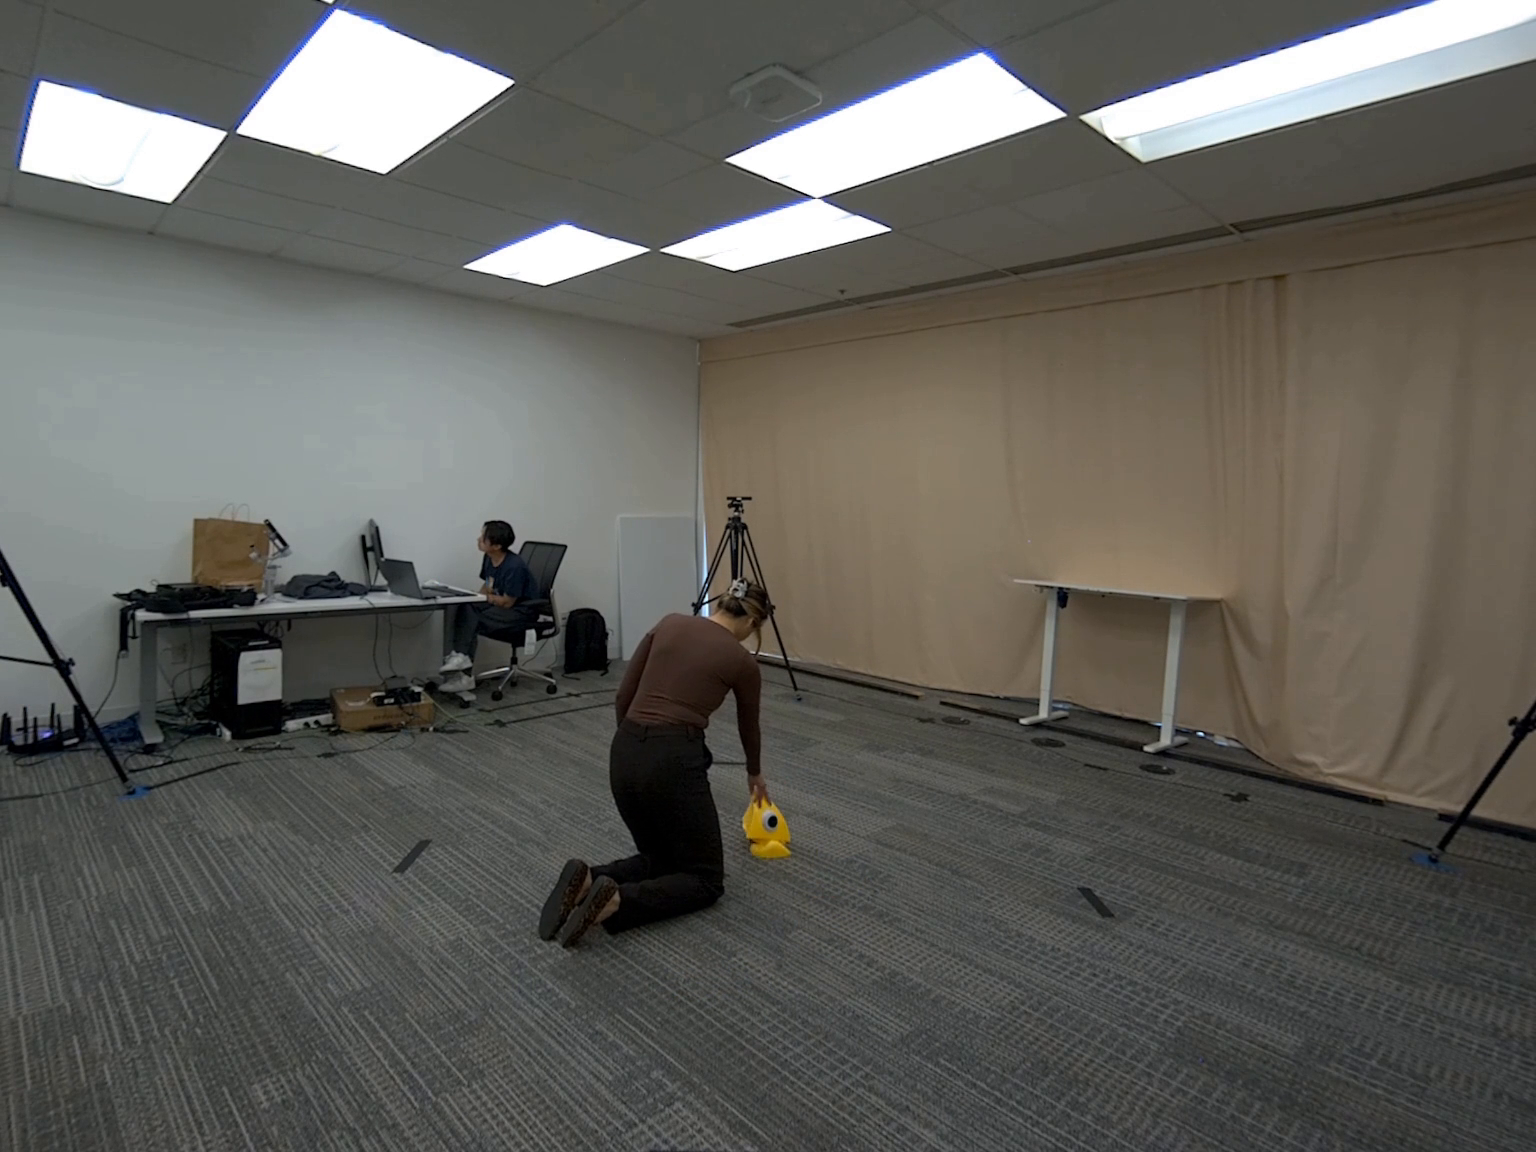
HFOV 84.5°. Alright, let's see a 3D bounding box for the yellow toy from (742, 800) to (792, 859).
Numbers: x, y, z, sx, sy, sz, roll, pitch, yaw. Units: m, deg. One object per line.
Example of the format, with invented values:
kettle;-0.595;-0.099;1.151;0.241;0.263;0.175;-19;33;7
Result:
yellow toy;-0.006;0.974;3.357;0.192;0.230;0.206;0;3;-5
